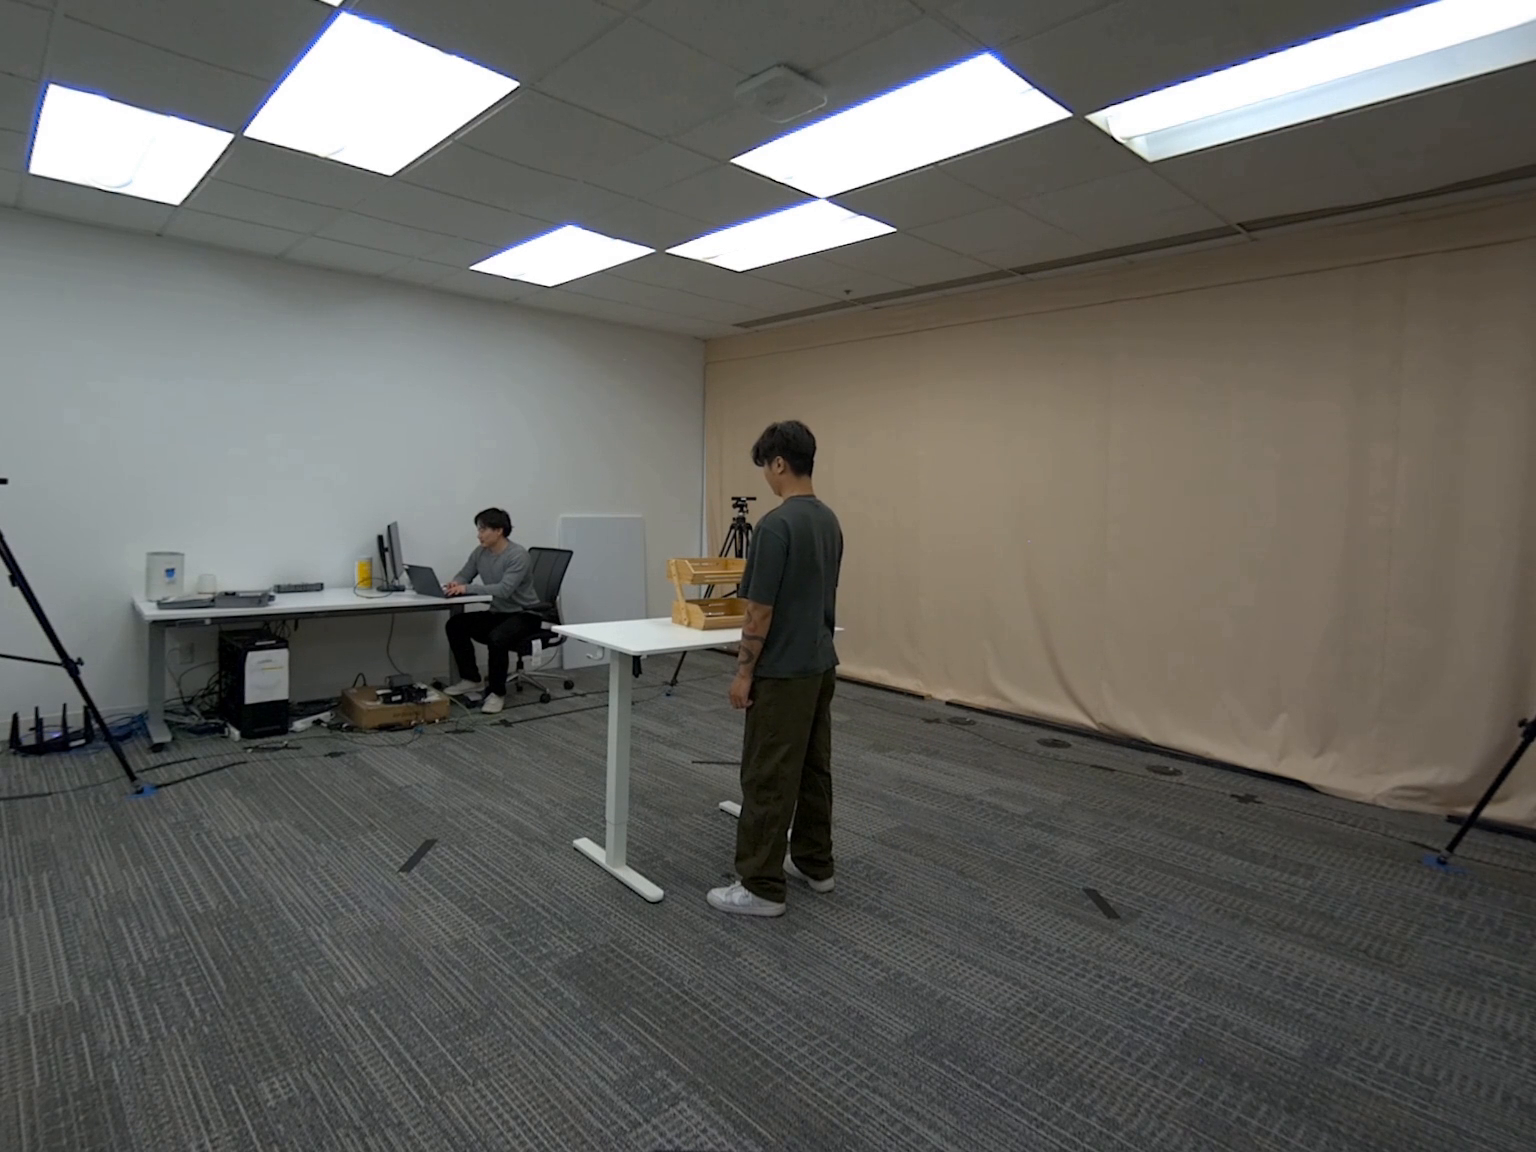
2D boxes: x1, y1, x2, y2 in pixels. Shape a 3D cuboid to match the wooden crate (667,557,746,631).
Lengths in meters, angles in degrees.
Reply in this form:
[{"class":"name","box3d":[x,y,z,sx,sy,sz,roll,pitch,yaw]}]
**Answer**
[{"class":"wooden crate","box3d":[-0.220,0.063,3.426,0.317,0.273,0.309,-1,4,-37]}]
